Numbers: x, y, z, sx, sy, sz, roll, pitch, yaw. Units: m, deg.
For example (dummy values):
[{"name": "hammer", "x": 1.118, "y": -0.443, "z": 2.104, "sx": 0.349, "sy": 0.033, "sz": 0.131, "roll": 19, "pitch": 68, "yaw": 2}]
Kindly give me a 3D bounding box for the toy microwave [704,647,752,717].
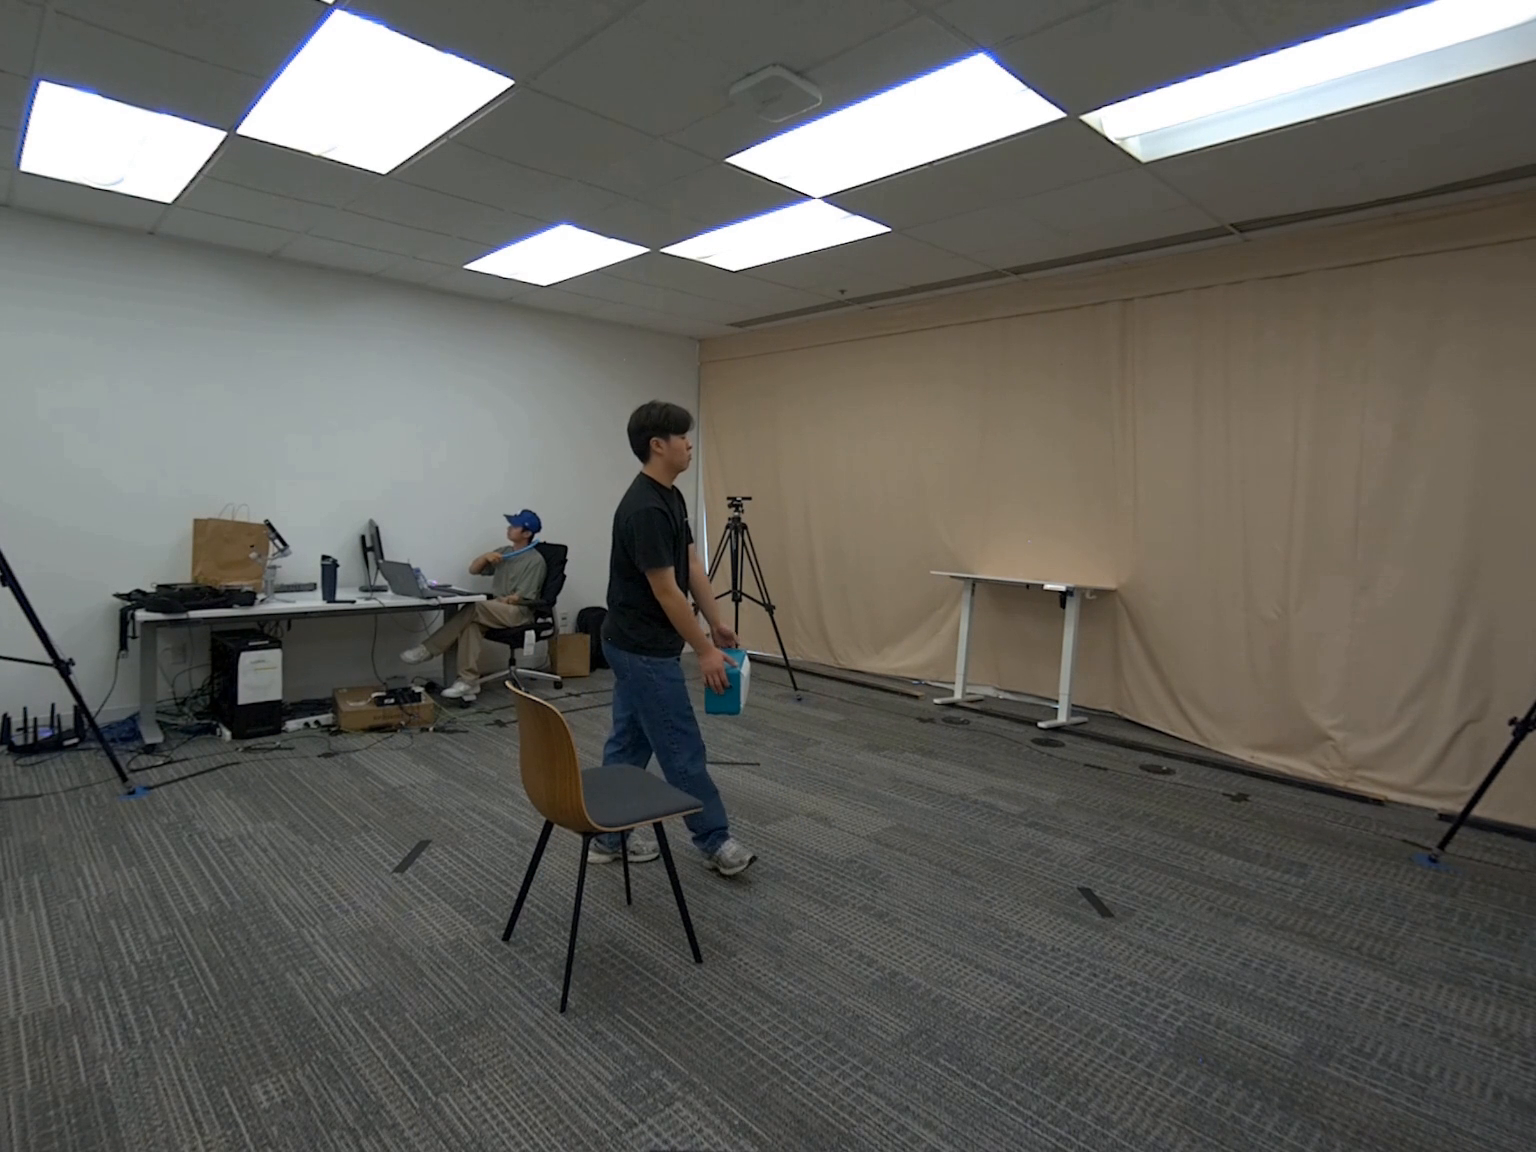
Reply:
[{"name": "toy microwave", "x": -0.145, "y": 0.396, "z": 3.133, "sx": 0.153, "sy": 0.183, "sz": 0.287, "roll": 1, "pitch": 11, "yaw": 6}]
